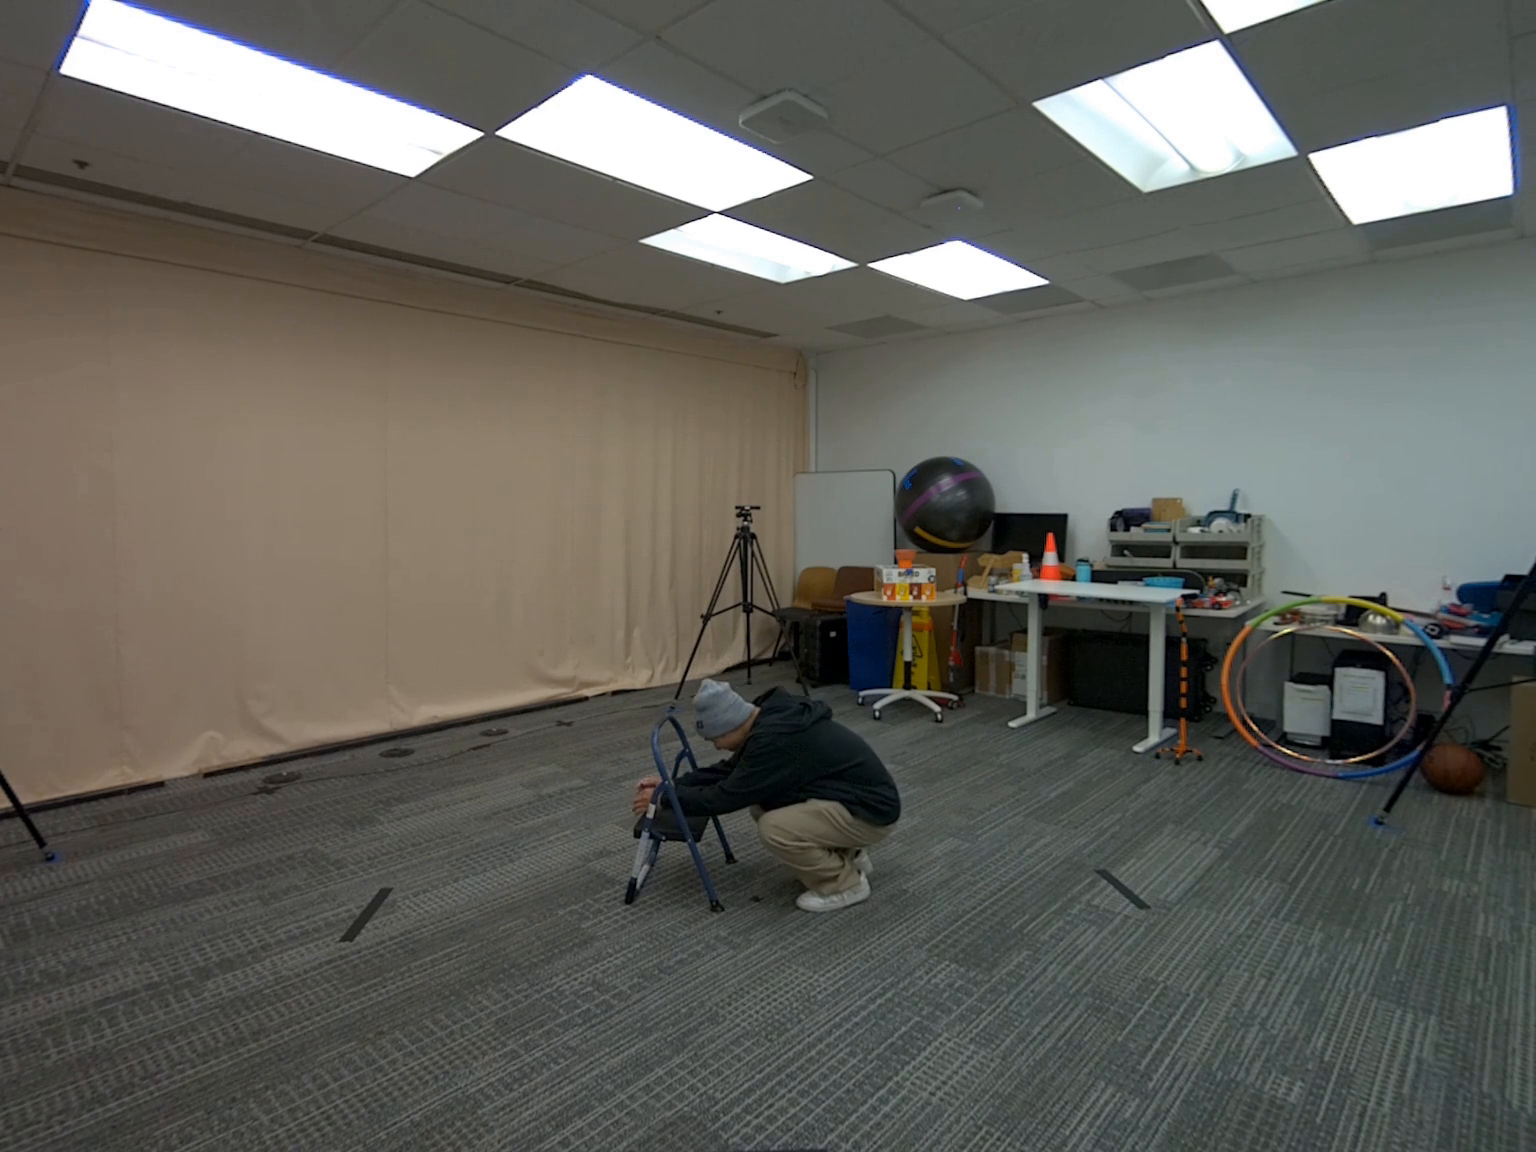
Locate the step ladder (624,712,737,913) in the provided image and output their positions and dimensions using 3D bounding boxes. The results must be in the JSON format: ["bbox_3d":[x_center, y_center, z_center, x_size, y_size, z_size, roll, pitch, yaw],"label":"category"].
[{"bbox_3d":[-0.315,0.840,3.111,0.352,0.605,0.428,1,4,6],"label":"step ladder"}]
